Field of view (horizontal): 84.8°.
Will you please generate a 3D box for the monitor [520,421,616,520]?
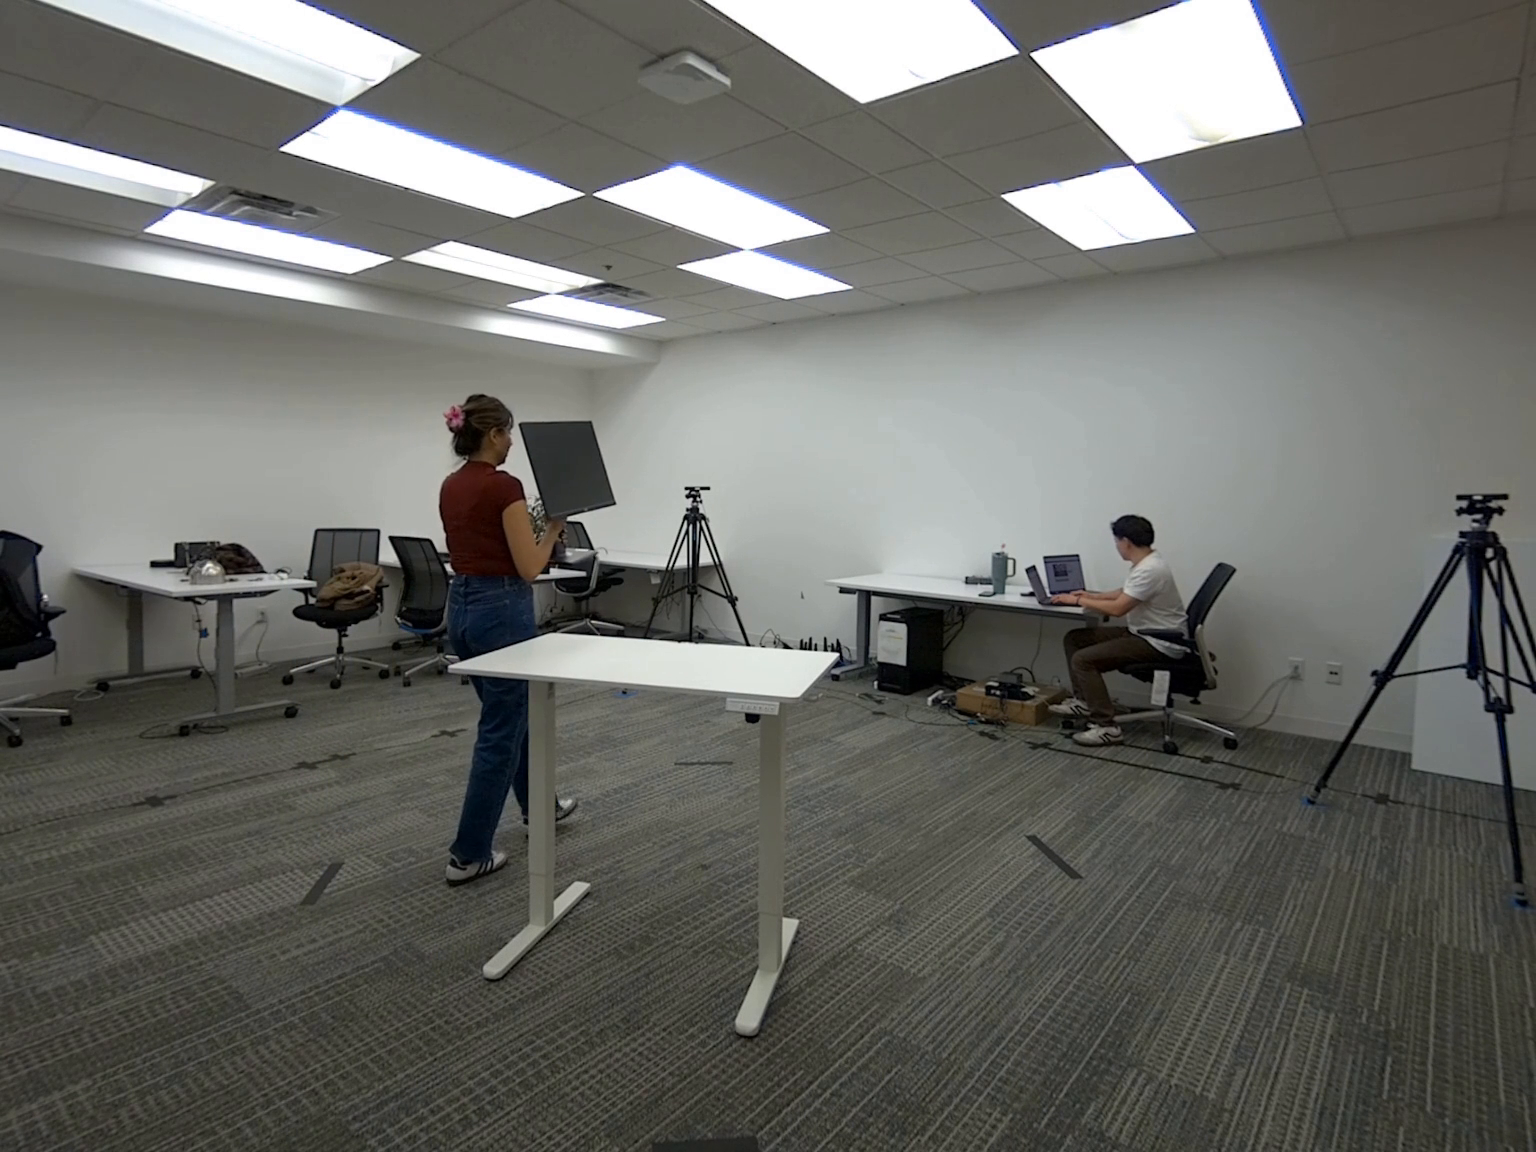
[{"bbox_3d":[-0.774,-0.323,3.189,0.190,0.518,0.535,-1,9,14],"label":"monitor"}]
